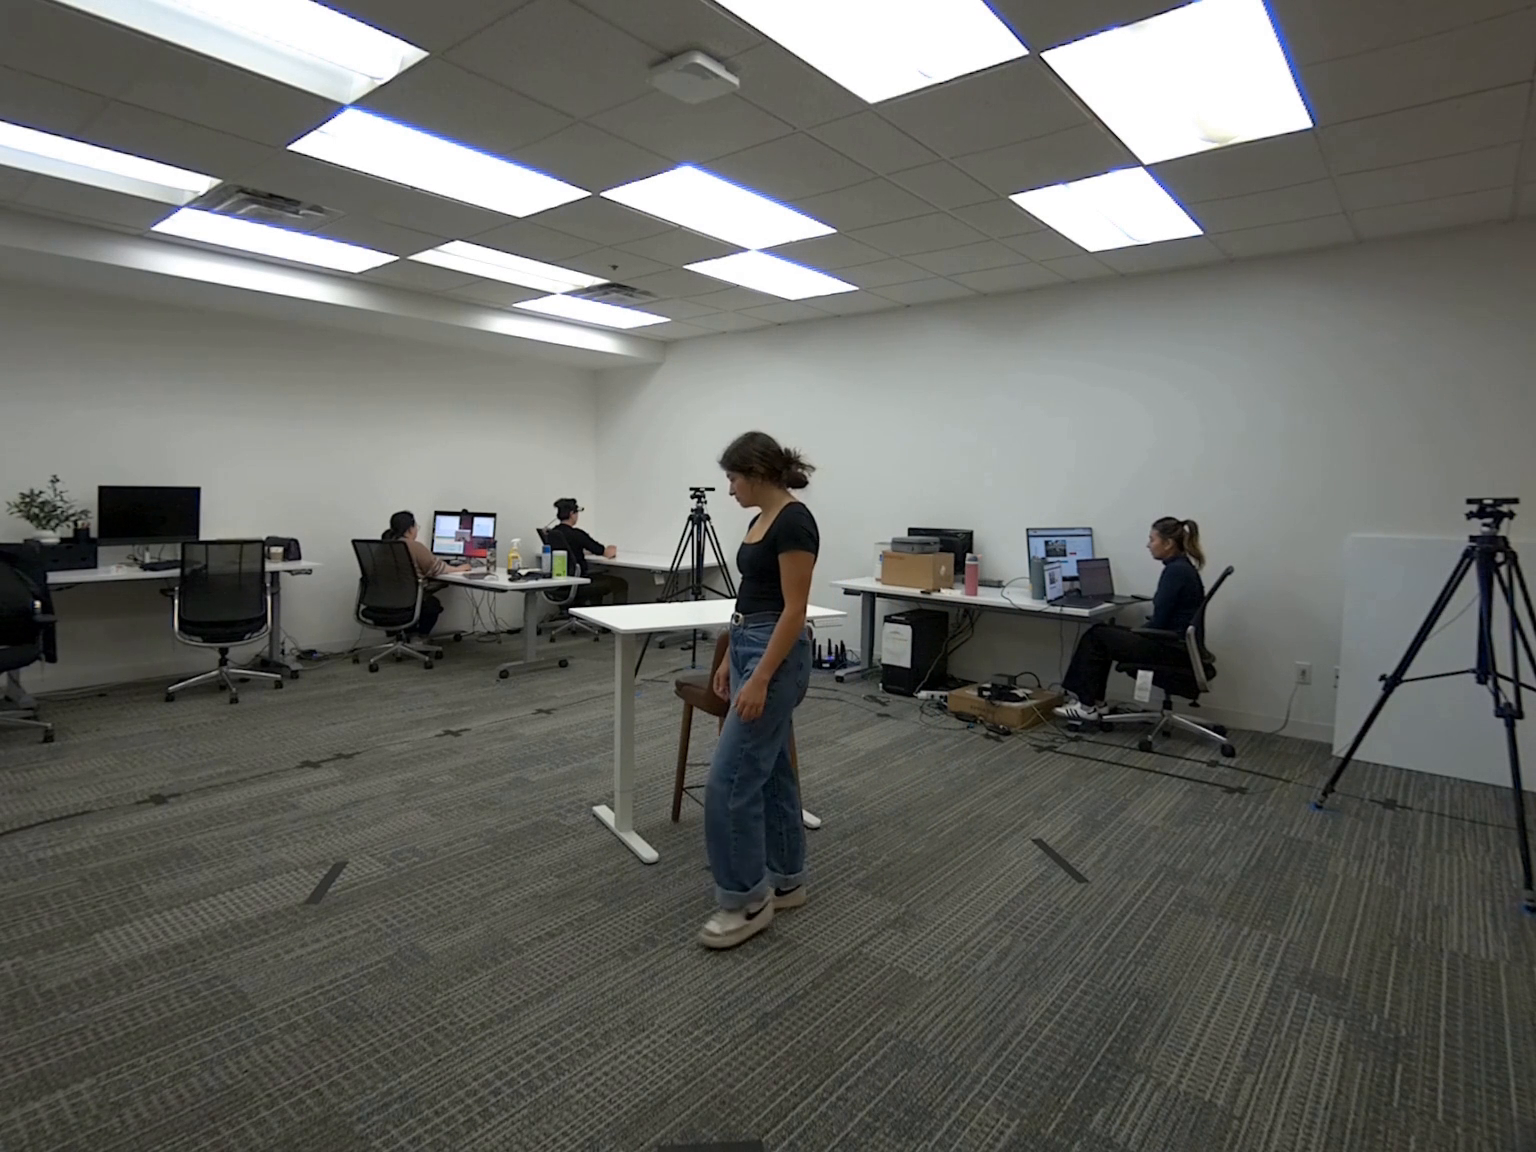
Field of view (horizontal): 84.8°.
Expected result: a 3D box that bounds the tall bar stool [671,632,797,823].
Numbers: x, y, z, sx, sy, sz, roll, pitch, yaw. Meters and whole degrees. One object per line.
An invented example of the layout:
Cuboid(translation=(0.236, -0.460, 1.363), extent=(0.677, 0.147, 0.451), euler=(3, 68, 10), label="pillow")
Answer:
Cuboid(translation=(-0.114, 0.605, 3.405), extent=(0.445, 0.886, 0.482), euler=(0, 6, -27), label="tall bar stool")
